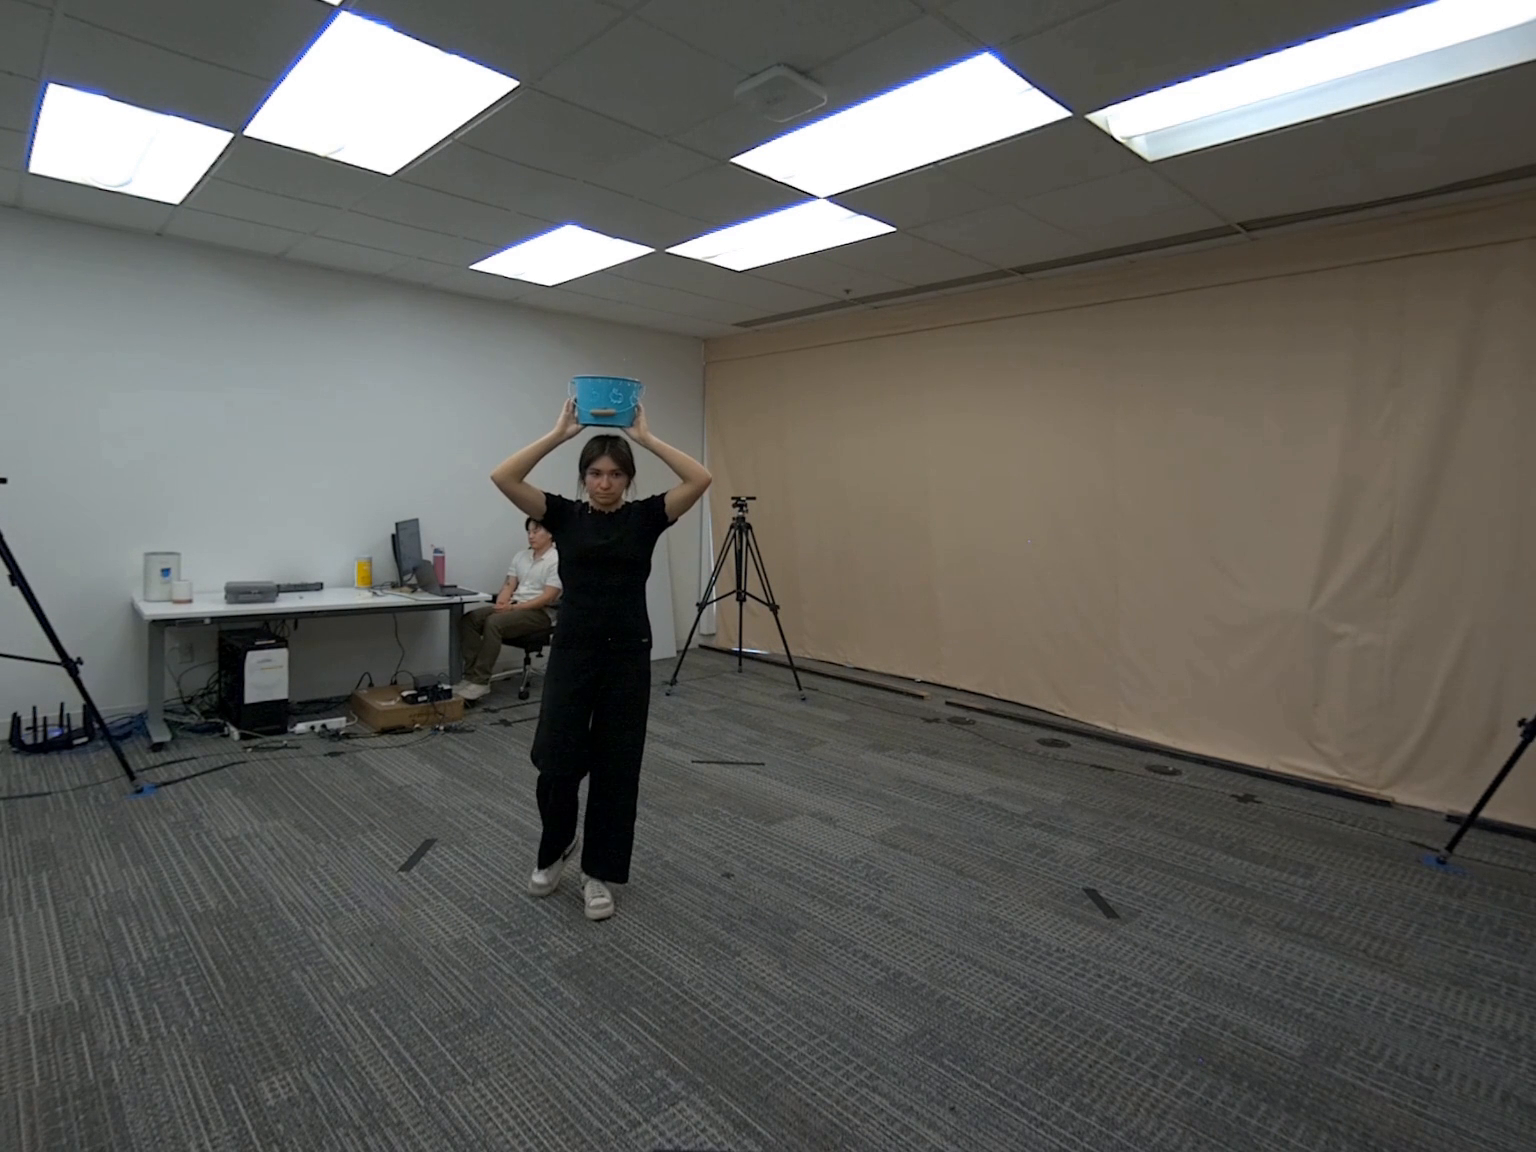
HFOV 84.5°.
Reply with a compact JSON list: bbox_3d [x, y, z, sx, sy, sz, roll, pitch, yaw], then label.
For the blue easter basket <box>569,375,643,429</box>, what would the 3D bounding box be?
[{"bbox_3d":[-0.560,-0.577,2.802,0.243,0.155,0.244,1,5,-1],"label":"blue easter basket"}]
